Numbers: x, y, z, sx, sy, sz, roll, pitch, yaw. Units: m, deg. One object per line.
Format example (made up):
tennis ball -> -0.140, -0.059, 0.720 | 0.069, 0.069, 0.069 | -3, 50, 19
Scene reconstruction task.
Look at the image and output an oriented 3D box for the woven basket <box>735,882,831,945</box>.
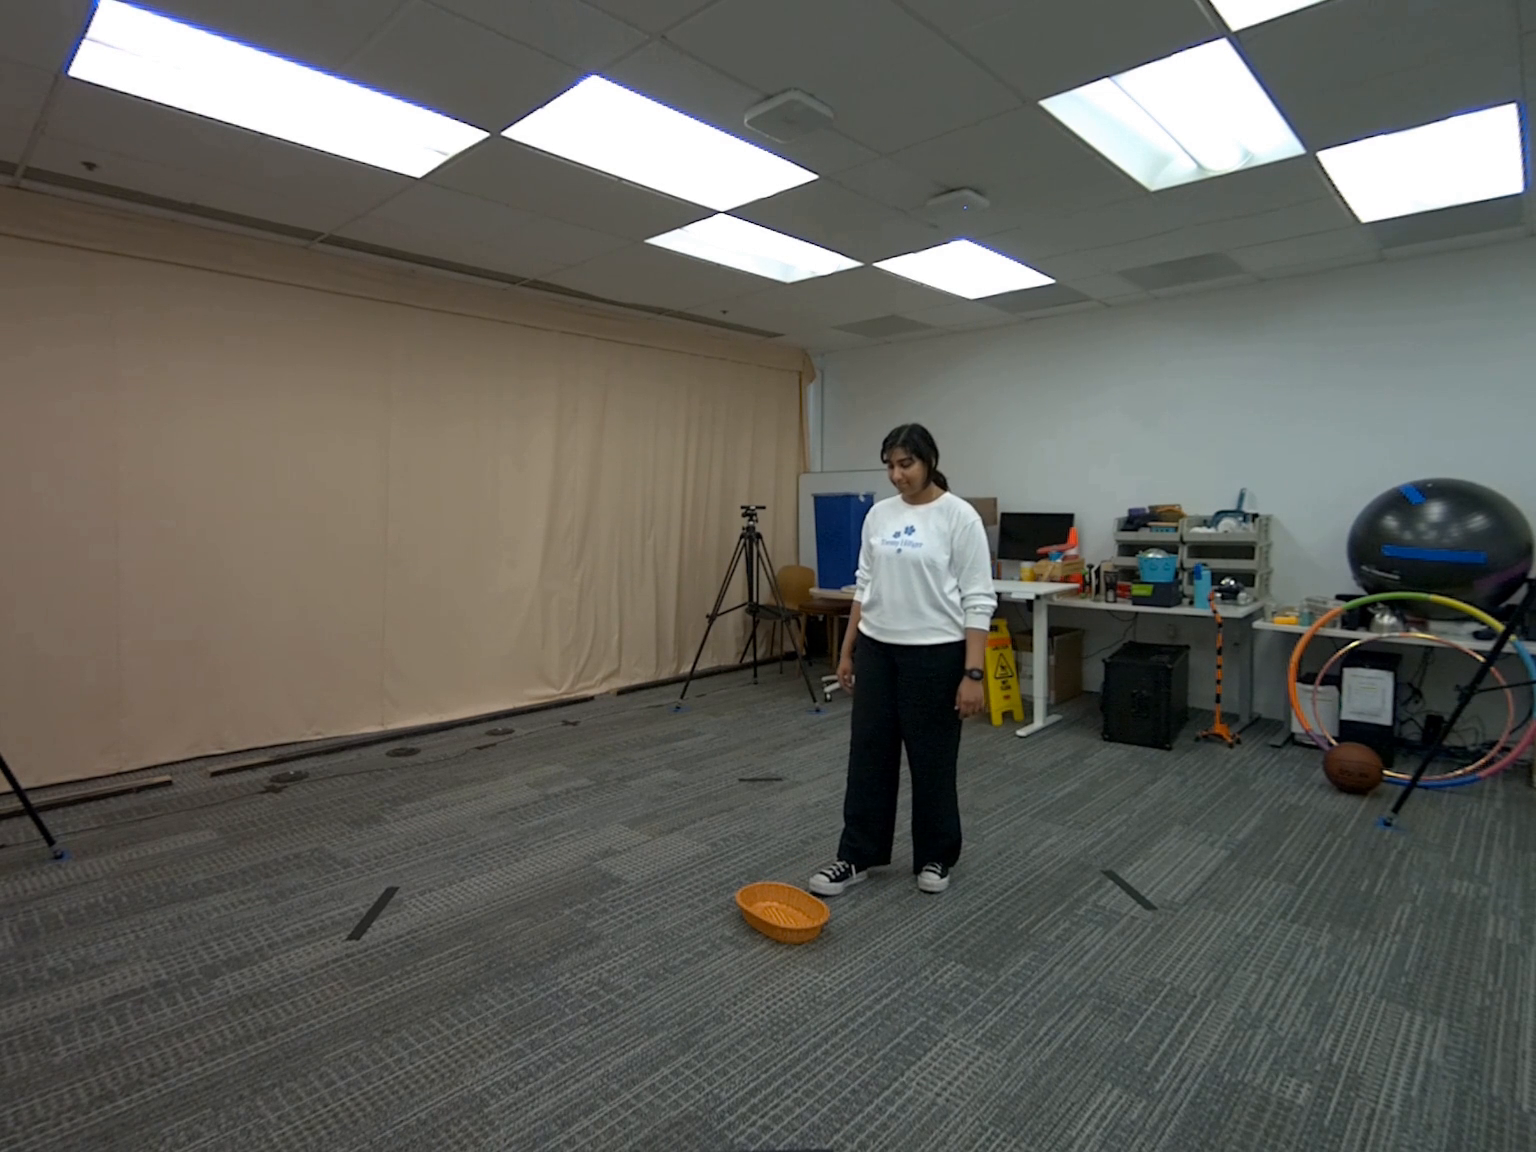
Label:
woven basket -> 0.056, 1.118, 2.805 | 0.245, 0.073, 0.362 | -2, 5, -36
